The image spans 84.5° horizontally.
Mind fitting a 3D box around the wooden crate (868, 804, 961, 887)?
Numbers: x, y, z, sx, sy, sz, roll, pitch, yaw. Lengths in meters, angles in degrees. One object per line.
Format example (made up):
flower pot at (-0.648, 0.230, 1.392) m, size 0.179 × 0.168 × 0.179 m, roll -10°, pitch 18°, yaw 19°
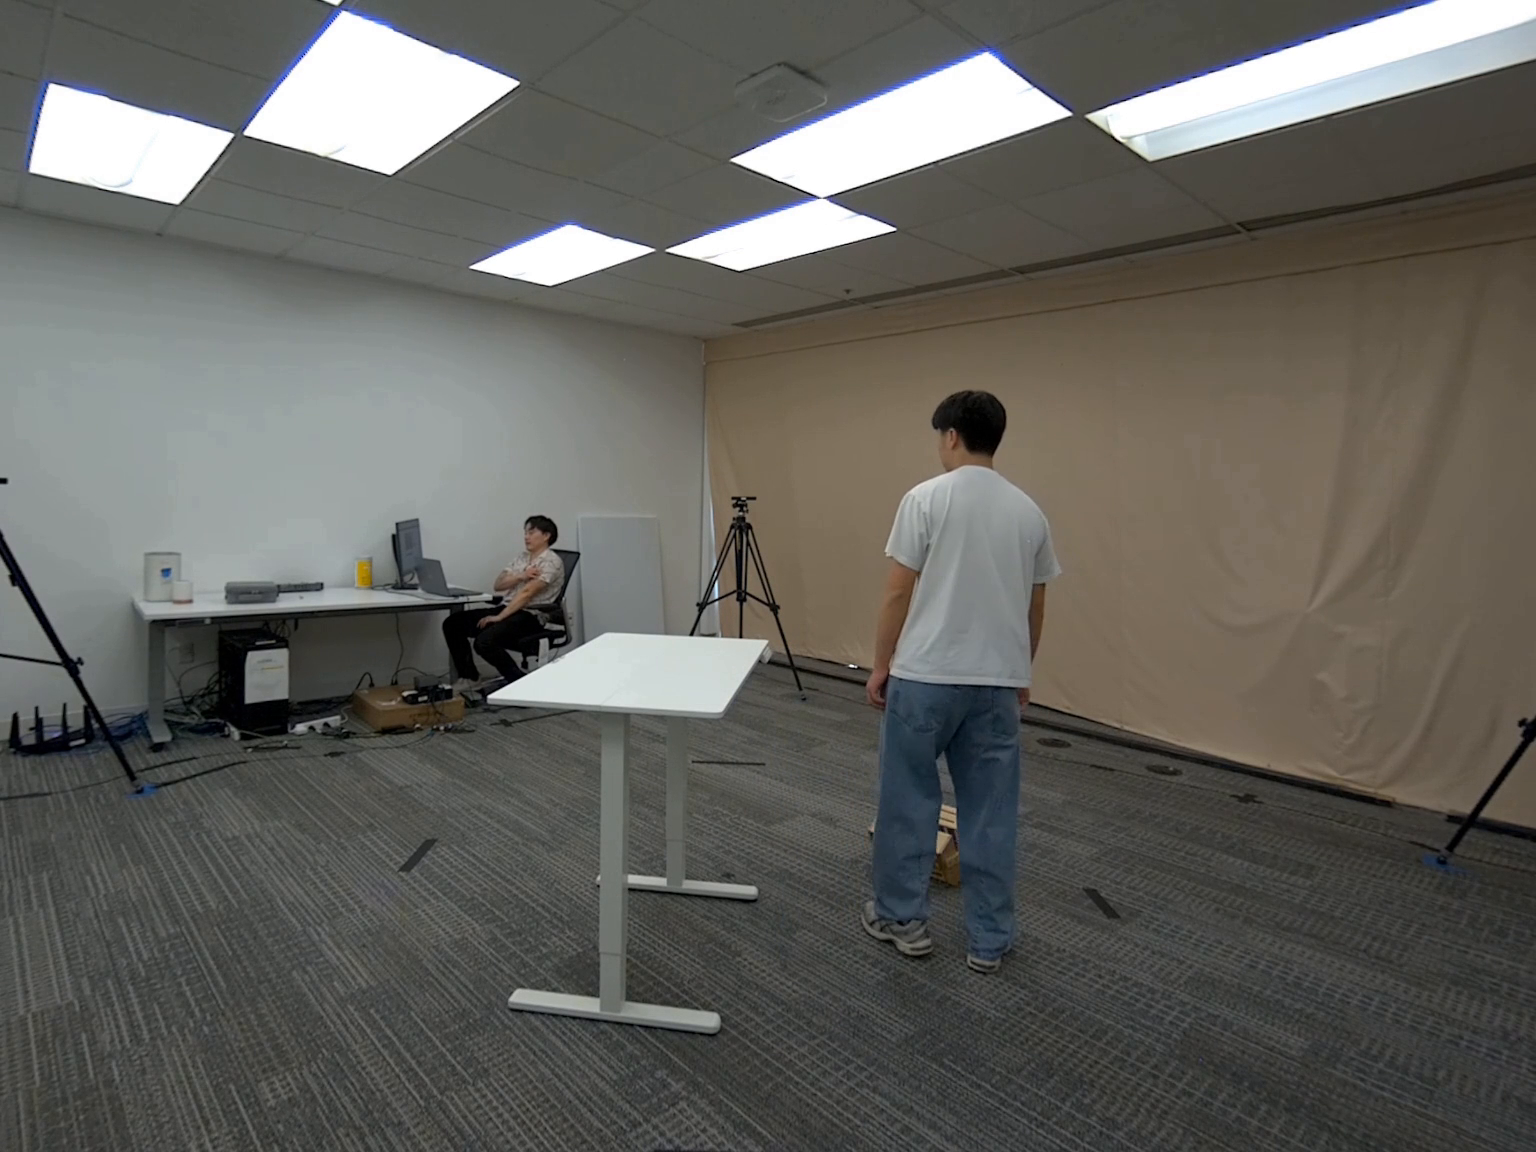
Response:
wooden crate at (0.598, 1.032, 3.192) m, size 0.332 × 0.296 × 0.272 m, roll 5°, pitch 33°, yaw 40°
